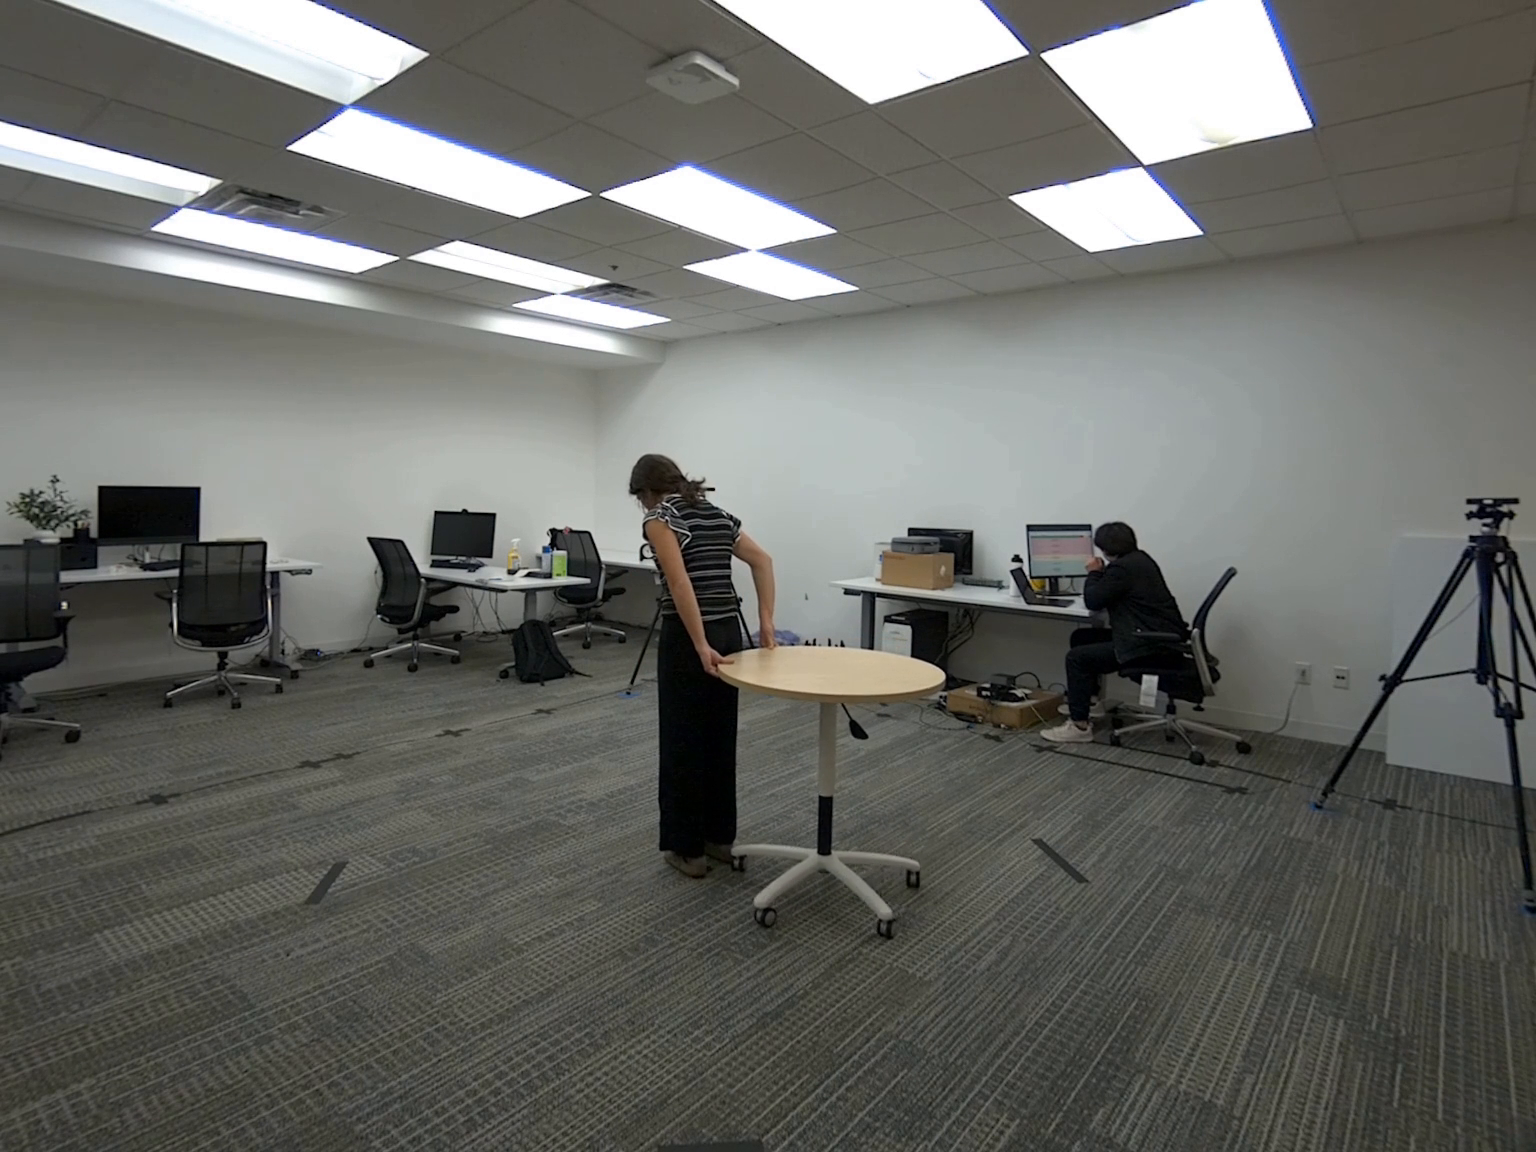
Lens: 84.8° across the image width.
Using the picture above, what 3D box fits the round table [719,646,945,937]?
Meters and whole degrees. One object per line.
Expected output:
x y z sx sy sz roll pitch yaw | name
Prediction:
0.184 0.696 2.930 0.784 0.783 0.789 2 5 -2 | round table
